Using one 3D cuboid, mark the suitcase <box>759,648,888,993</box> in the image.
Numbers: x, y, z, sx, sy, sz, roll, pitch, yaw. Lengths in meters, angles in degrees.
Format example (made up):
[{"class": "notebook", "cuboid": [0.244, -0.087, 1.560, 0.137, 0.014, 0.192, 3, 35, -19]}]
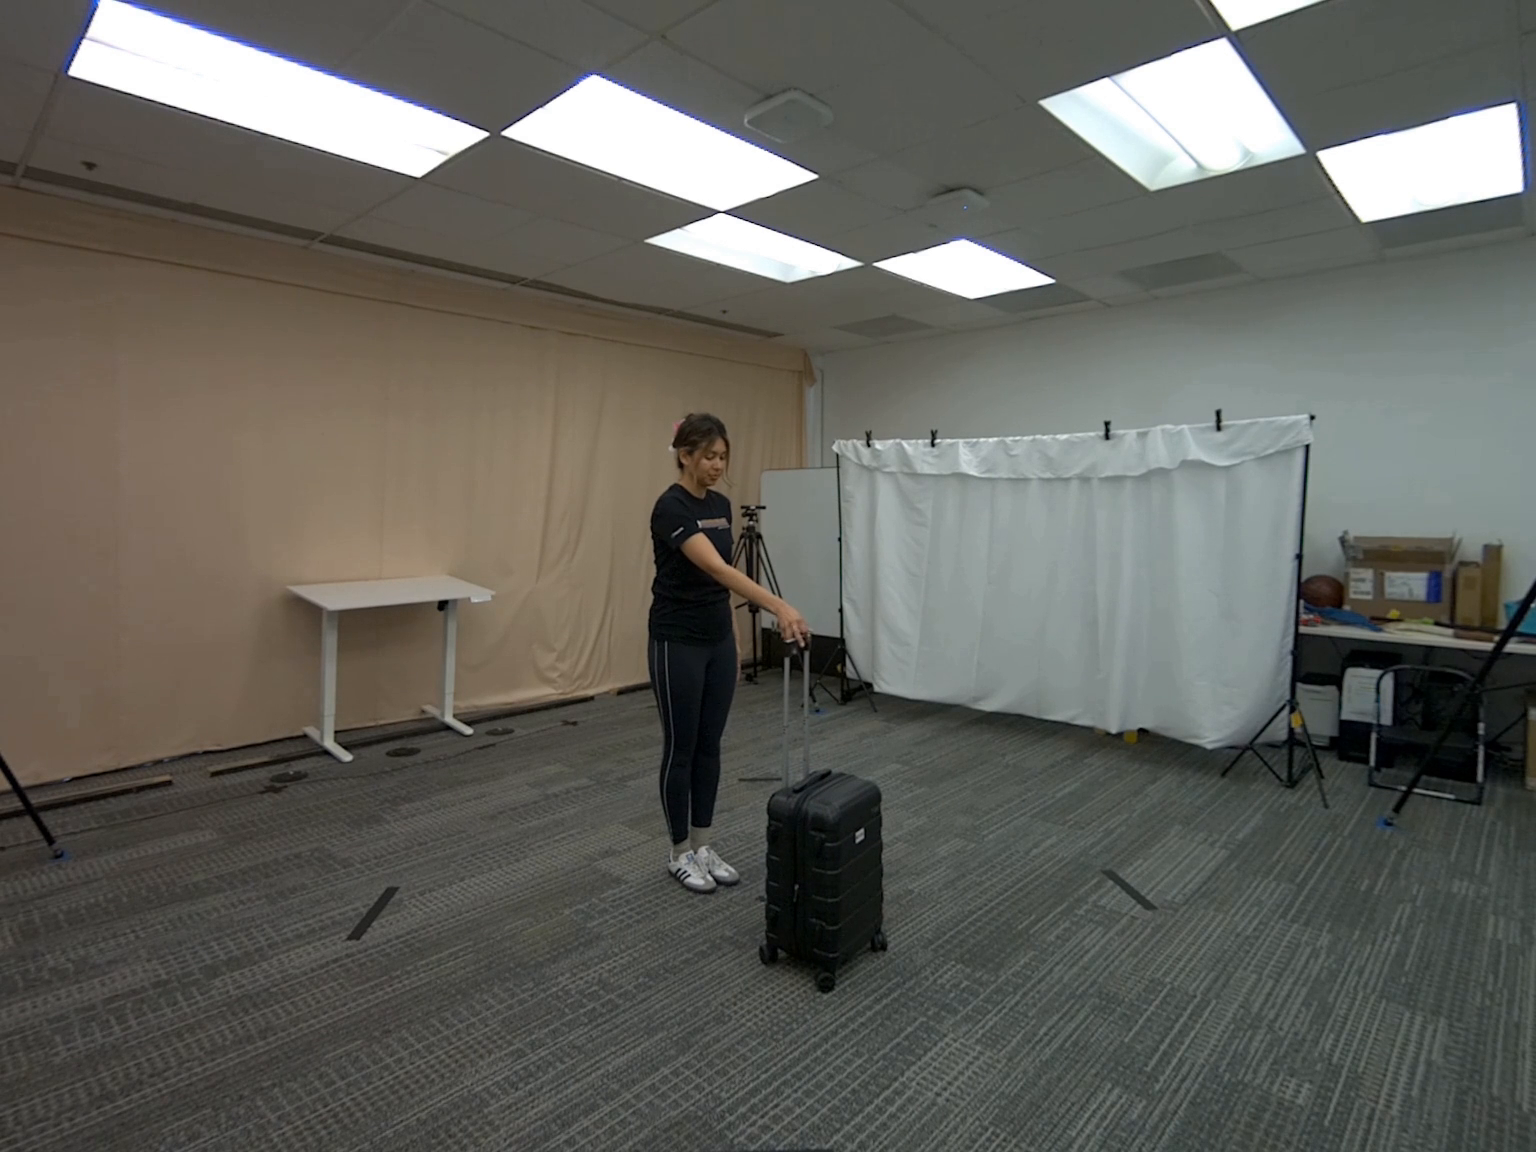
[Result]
[{"class": "suitcase", "cuboid": [0.189, 0.704, 2.579, 0.265, 0.977, 0.372, 4, 4, 36]}]
